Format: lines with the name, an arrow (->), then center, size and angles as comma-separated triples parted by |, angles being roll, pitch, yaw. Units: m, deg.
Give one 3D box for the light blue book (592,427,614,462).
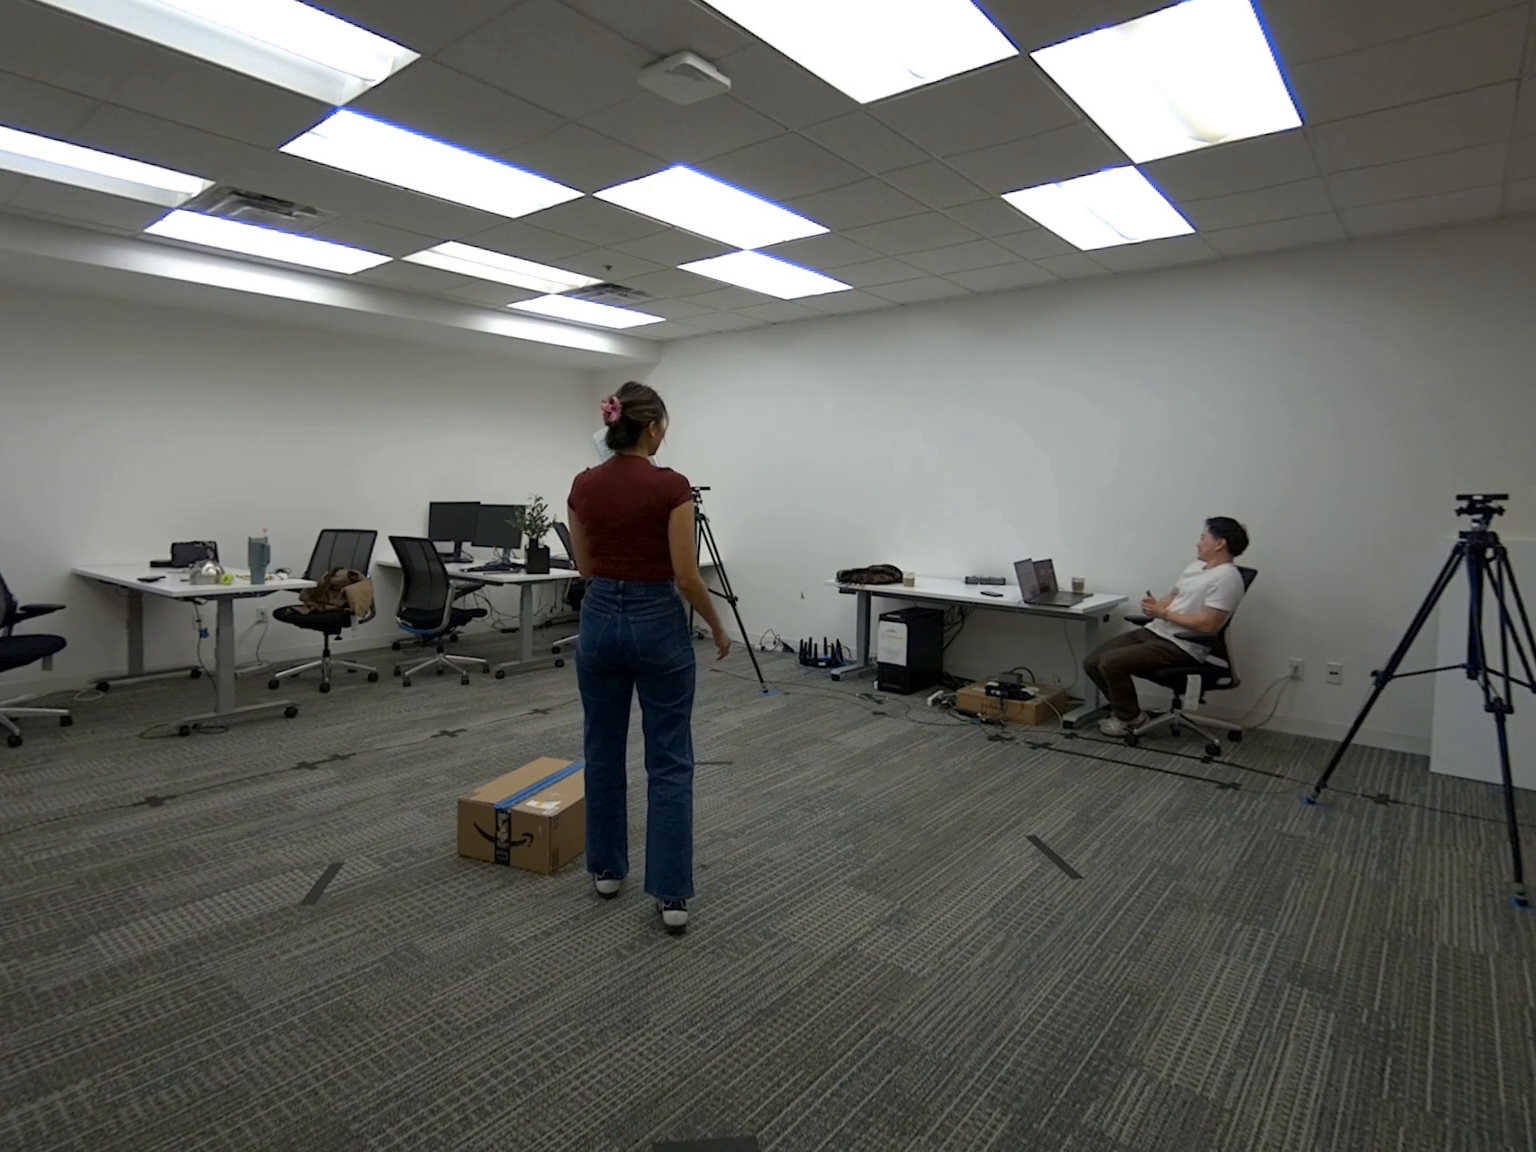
light blue book -> -0.512, -0.438, 3.054 | 0.192, 0.269, 0.057 | -29, -27, 9
